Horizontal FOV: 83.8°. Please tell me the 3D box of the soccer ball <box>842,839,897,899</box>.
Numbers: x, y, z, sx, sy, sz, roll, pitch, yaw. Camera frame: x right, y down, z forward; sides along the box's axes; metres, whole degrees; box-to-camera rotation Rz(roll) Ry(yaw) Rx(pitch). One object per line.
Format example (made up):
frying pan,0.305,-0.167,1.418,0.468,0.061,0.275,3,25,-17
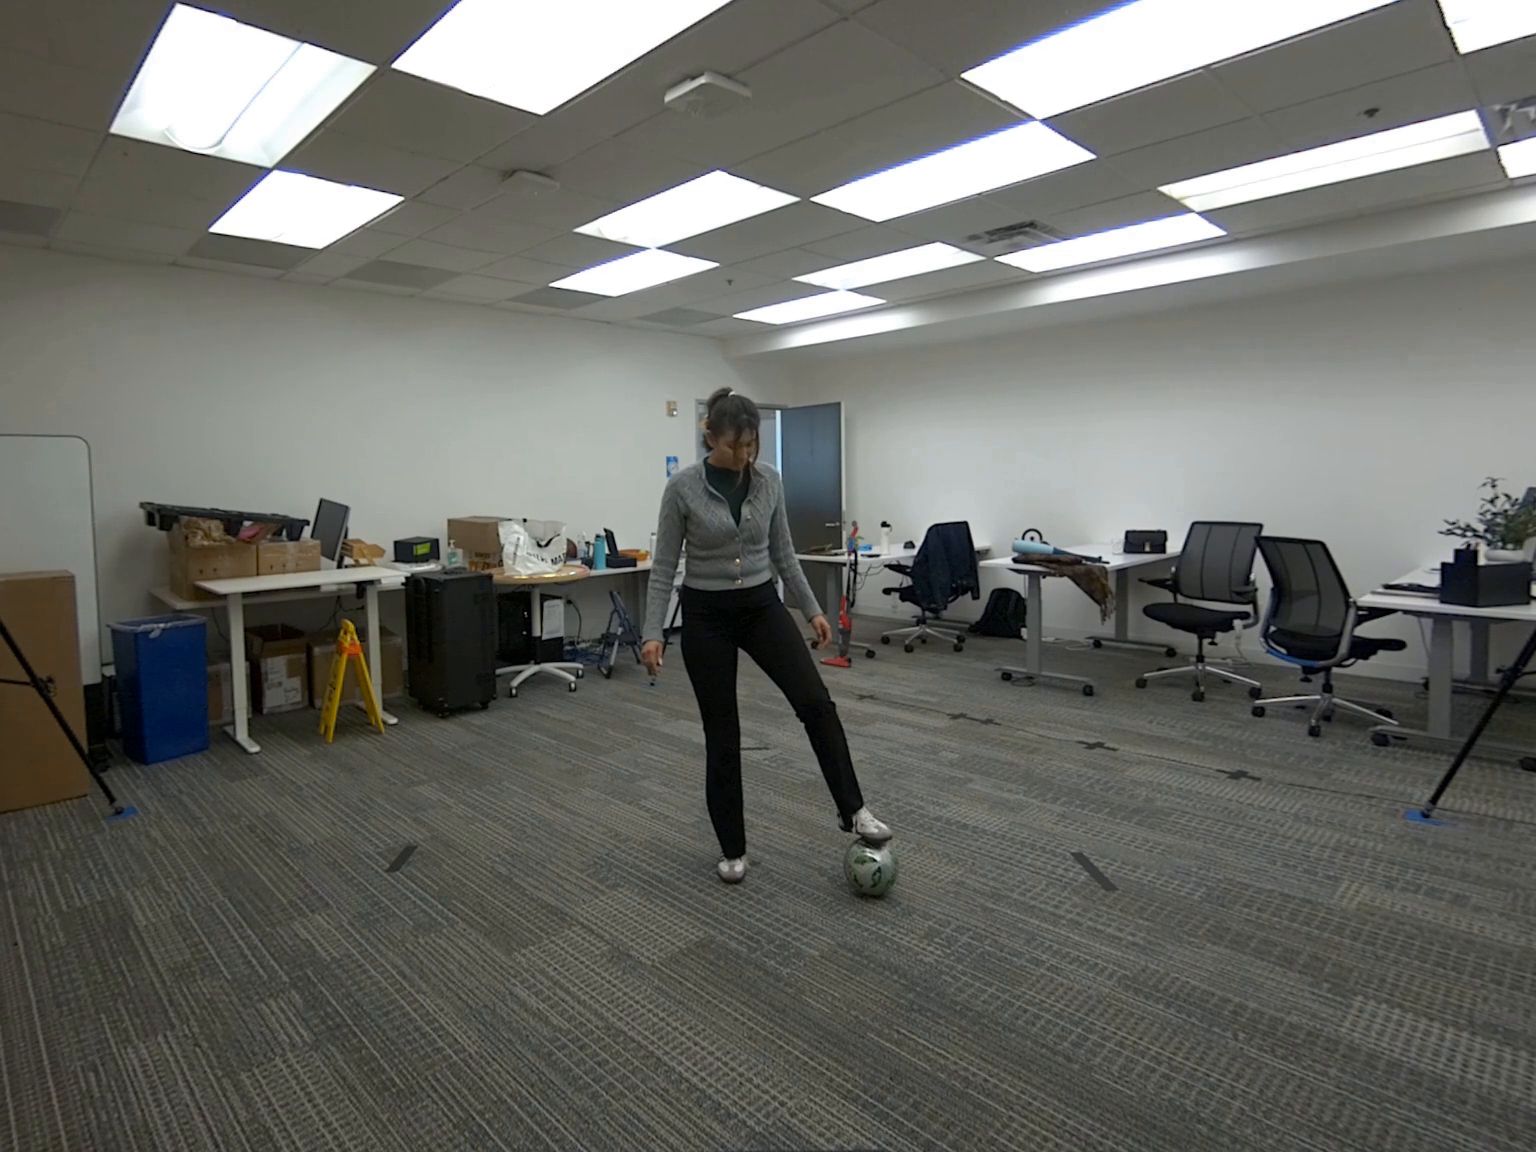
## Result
soccer ball,0.338,0.973,2.879,0.187,0.187,0.188,-1,5,-2
